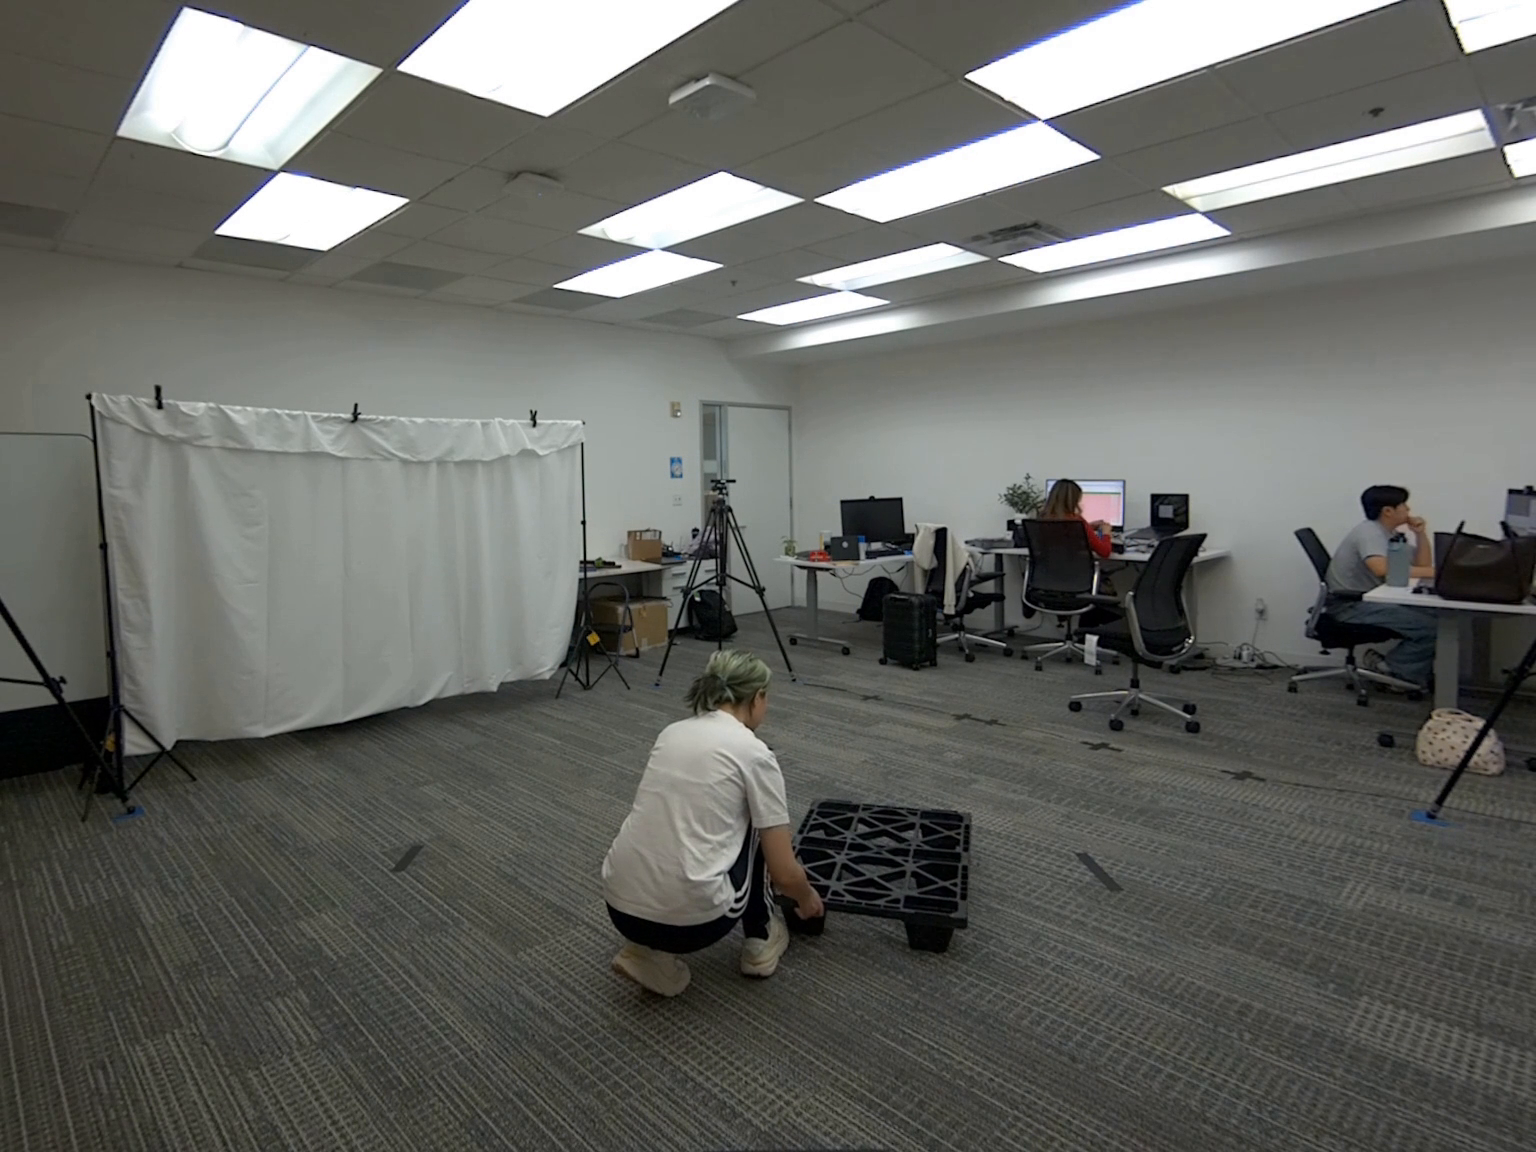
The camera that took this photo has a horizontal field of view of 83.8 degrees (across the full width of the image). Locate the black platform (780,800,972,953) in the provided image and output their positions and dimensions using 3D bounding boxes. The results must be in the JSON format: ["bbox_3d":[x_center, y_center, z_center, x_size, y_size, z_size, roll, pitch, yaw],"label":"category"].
[{"bbox_3d":[0.388,0.994,2.920,0.615,0.142,0.797,1,7,15],"label":"black platform"}]
